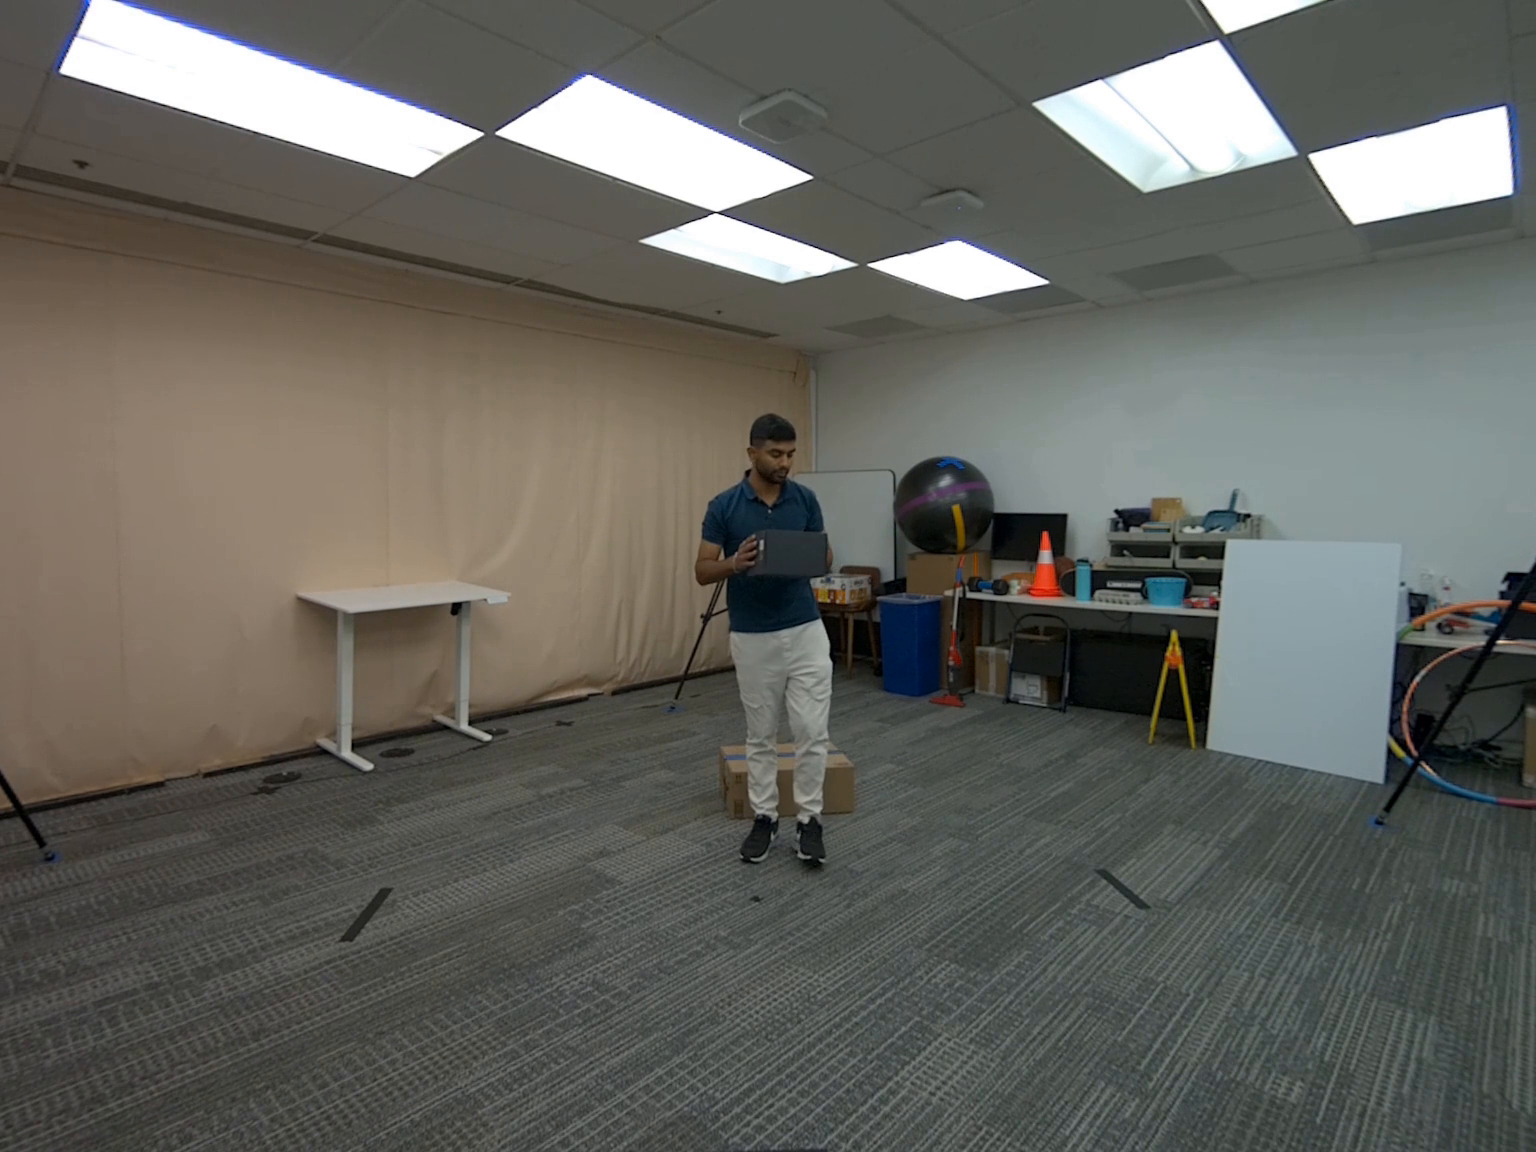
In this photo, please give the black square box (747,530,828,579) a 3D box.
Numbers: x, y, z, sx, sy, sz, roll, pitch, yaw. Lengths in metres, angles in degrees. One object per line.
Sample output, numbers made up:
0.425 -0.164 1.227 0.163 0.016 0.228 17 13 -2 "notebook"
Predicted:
0.072 -0.076 3.020 0.224 0.156 0.220 3 -3 -14 "black square box"
